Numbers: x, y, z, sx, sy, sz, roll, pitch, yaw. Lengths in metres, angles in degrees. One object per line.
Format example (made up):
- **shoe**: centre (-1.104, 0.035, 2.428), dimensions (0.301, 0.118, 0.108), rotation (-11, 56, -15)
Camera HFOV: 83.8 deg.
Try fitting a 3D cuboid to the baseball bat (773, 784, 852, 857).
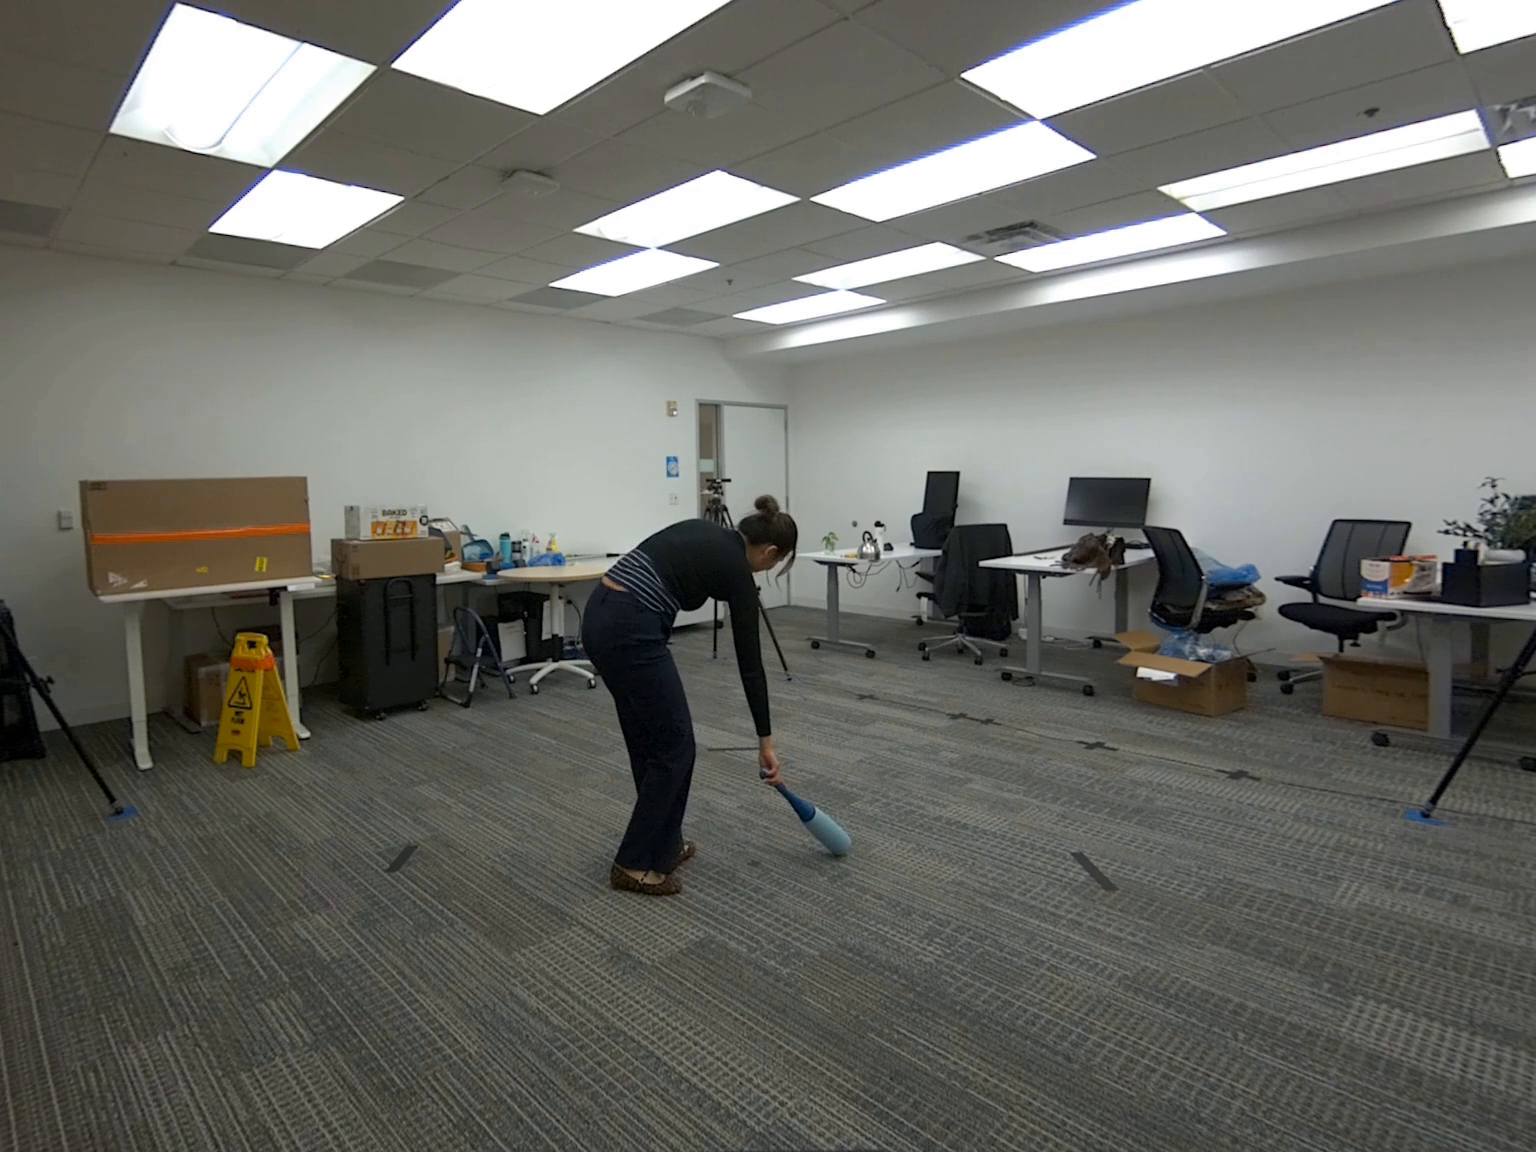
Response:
- **baseball bat**: centre (0.126, 0.836, 3.050), dimensions (0.092, 0.089, 0.524), rotation (4, -35, 51)
